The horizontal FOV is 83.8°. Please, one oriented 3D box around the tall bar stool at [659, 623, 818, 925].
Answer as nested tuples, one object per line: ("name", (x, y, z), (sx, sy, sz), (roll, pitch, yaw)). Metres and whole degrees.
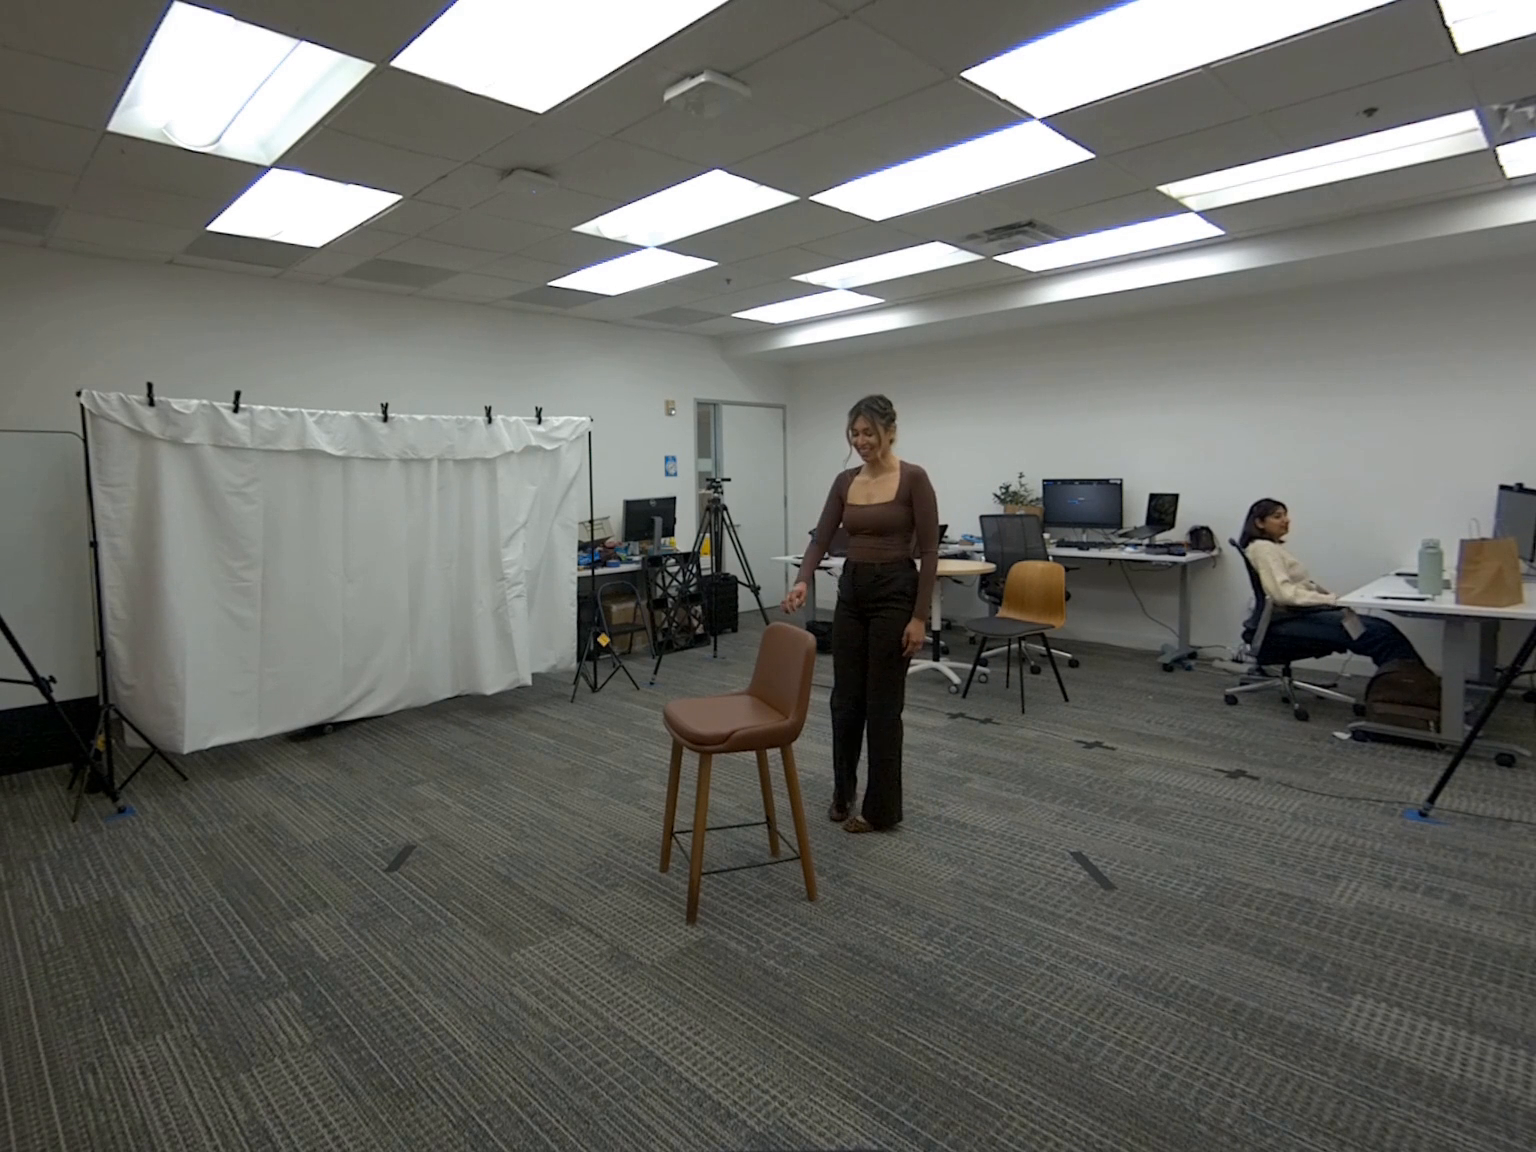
("tall bar stool", (-0.109, 0.631, 2.909), (0.459, 0.887, 0.466), (-1, 4, -19))
